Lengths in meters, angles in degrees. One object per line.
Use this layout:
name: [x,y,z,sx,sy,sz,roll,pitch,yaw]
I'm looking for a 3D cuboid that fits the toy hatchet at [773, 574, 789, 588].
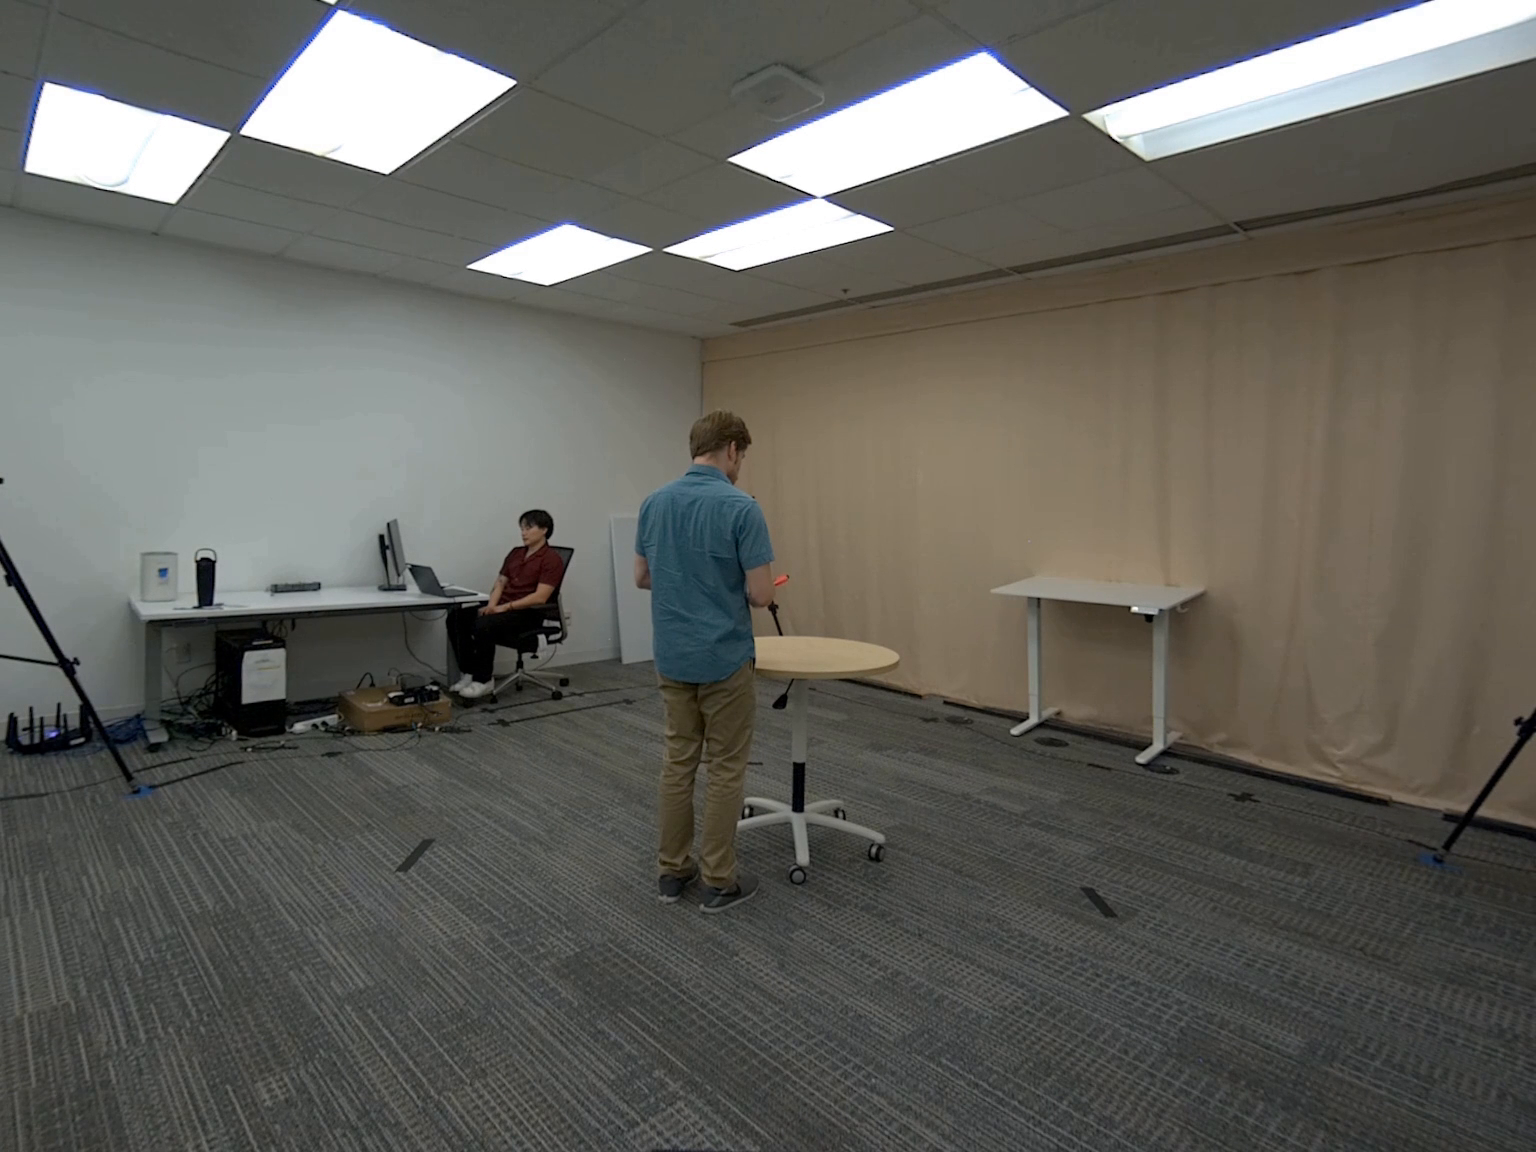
toy hatchet: [-0.030,0.058,3.104,0.267,0.029,0.133,-28,6,-31]
